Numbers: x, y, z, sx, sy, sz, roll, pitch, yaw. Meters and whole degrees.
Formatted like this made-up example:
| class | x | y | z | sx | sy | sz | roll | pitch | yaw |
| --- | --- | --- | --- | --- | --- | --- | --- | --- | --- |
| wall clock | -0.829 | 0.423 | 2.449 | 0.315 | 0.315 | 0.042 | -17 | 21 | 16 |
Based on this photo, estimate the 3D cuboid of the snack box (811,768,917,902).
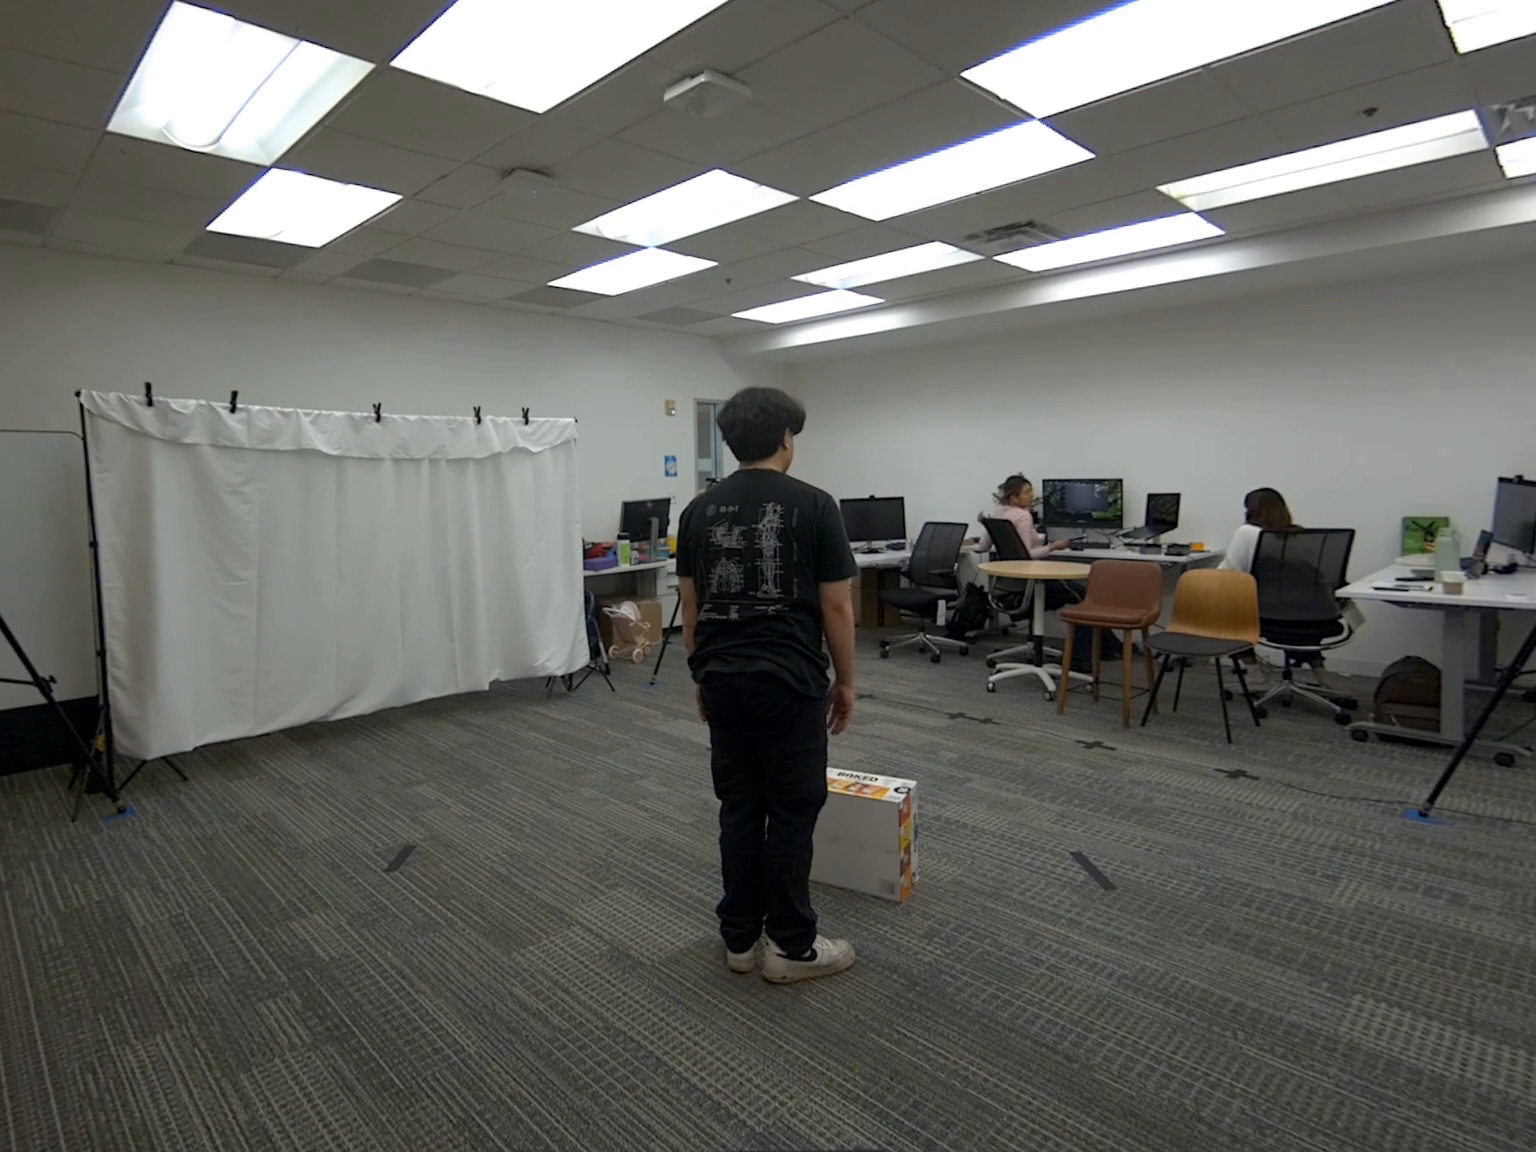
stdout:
| class | x | y | z | sx | sy | sz | roll | pitch | yaw |
| --- | --- | --- | --- | --- | --- | --- | --- | --- | --- |
| snack box | 0.300 | 0.882 | 2.968 | 0.415 | 0.339 | 0.201 | 1 | 5 | 29 |
